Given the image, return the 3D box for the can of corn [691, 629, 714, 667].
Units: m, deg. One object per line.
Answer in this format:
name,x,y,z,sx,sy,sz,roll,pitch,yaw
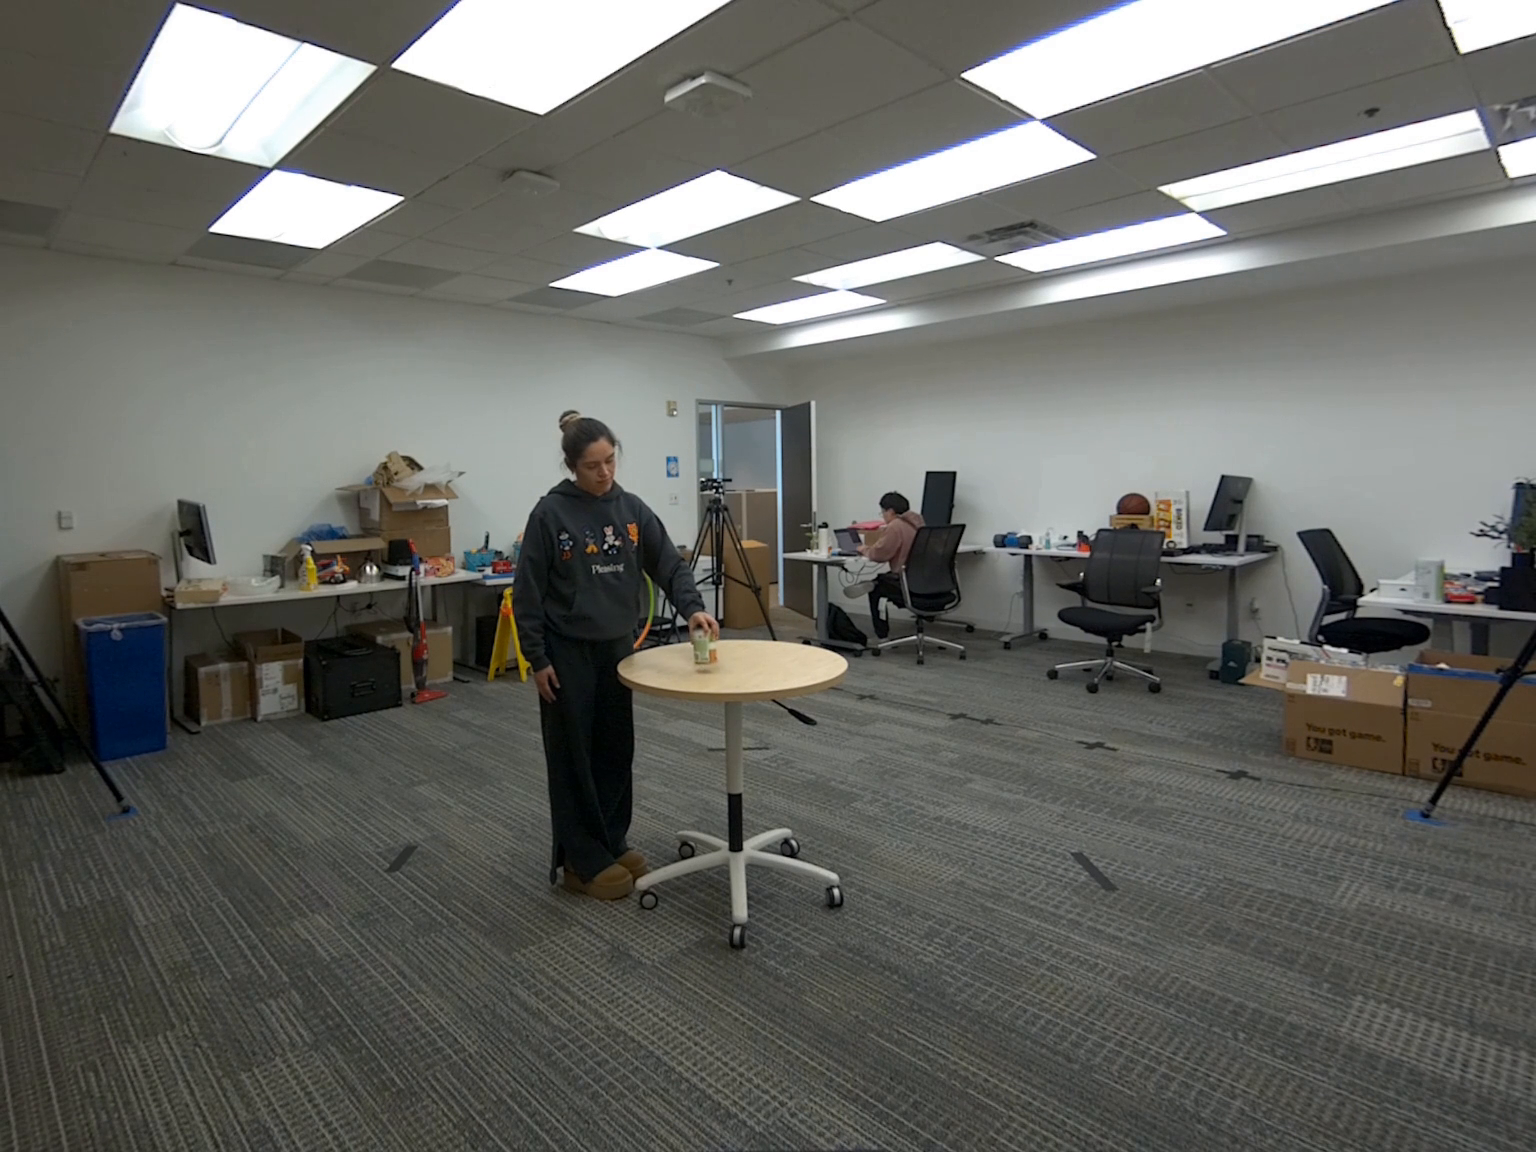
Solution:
can of corn,-0.207,0.223,2.755,0.074,0.111,0.074,-4,-2,-2
